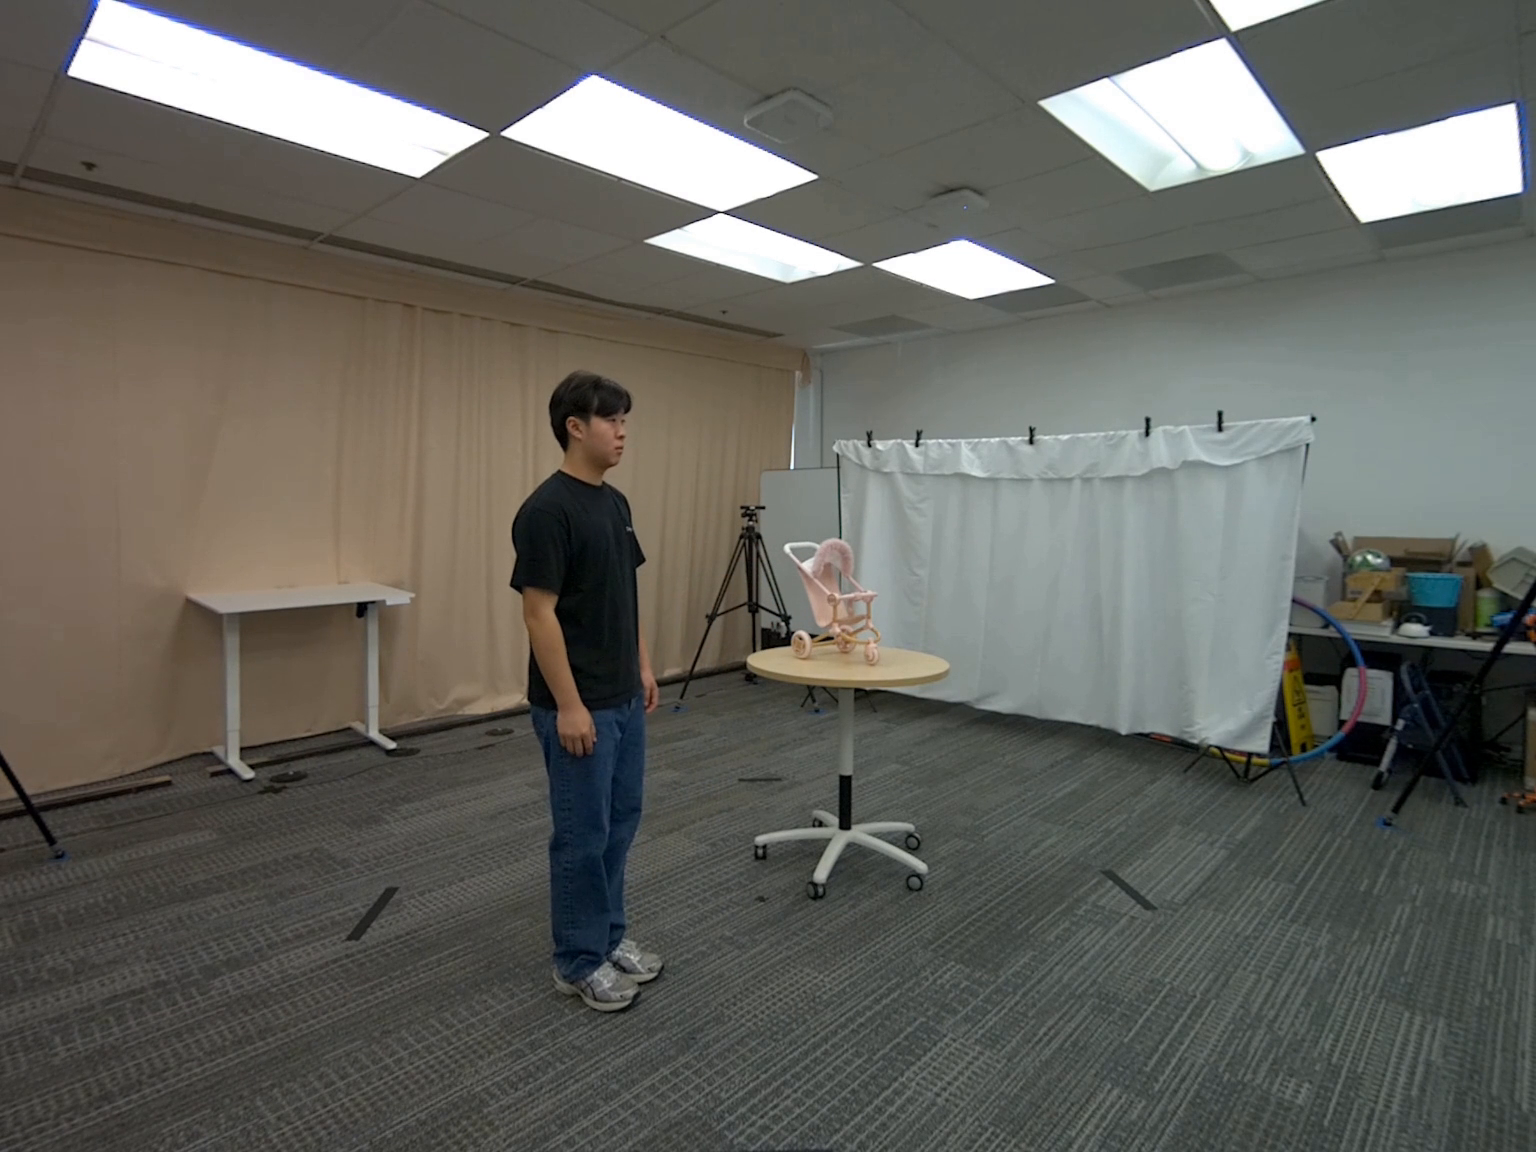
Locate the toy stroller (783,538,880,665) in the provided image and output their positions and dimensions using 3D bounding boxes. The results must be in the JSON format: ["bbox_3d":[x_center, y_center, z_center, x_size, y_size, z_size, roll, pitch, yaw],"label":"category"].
[{"bbox_3d":[0.271,0.097,3.280,0.273,0.538,0.349,-2,-10,-35],"label":"toy stroller"}]
